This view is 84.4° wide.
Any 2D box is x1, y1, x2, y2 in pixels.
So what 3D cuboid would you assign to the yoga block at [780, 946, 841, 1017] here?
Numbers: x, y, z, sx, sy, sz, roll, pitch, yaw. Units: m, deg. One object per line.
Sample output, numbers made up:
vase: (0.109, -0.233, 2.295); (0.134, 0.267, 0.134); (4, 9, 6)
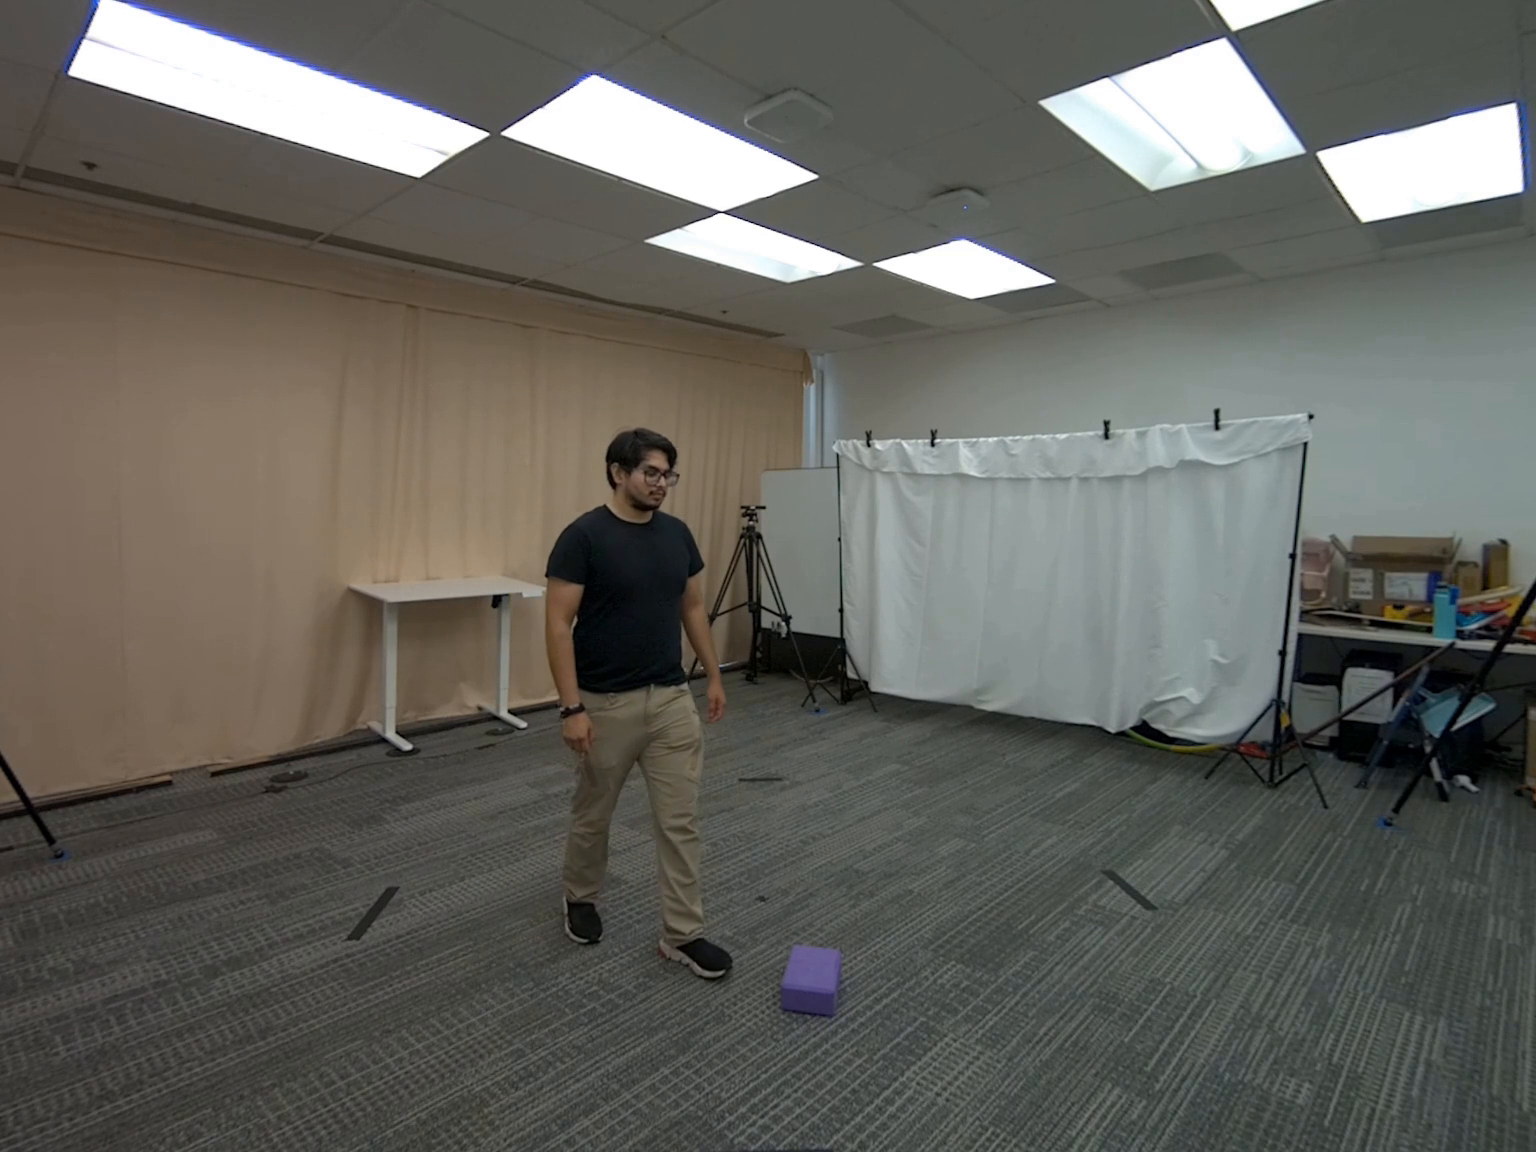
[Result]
yoga block: (0.130, 1.154, 2.401); (0.151, 0.076, 0.226); (0, 4, 12)
